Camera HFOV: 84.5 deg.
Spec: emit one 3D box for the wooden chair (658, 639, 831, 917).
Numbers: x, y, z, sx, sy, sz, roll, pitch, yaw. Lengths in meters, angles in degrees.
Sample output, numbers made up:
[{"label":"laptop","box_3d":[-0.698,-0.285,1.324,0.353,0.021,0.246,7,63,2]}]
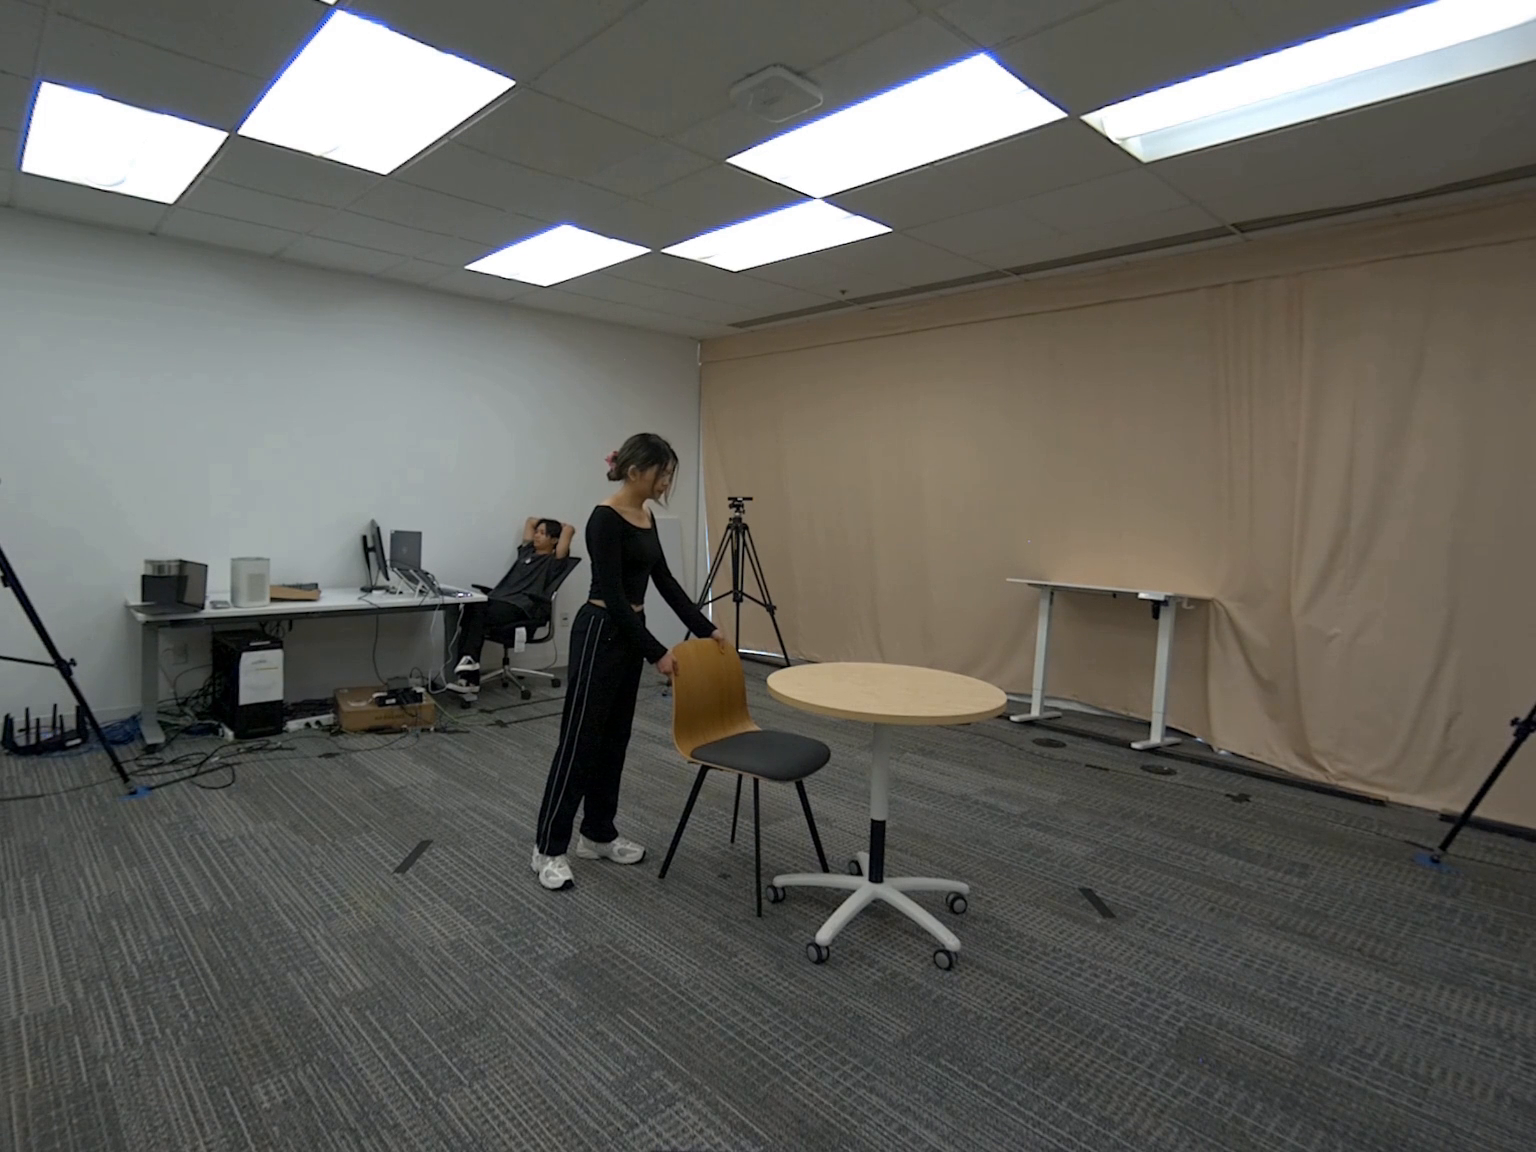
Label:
[{"label":"wooden chair","box_3d":[-0.076,0.682,3.078,0.535,0.877,0.468,-1,1,36]}]
